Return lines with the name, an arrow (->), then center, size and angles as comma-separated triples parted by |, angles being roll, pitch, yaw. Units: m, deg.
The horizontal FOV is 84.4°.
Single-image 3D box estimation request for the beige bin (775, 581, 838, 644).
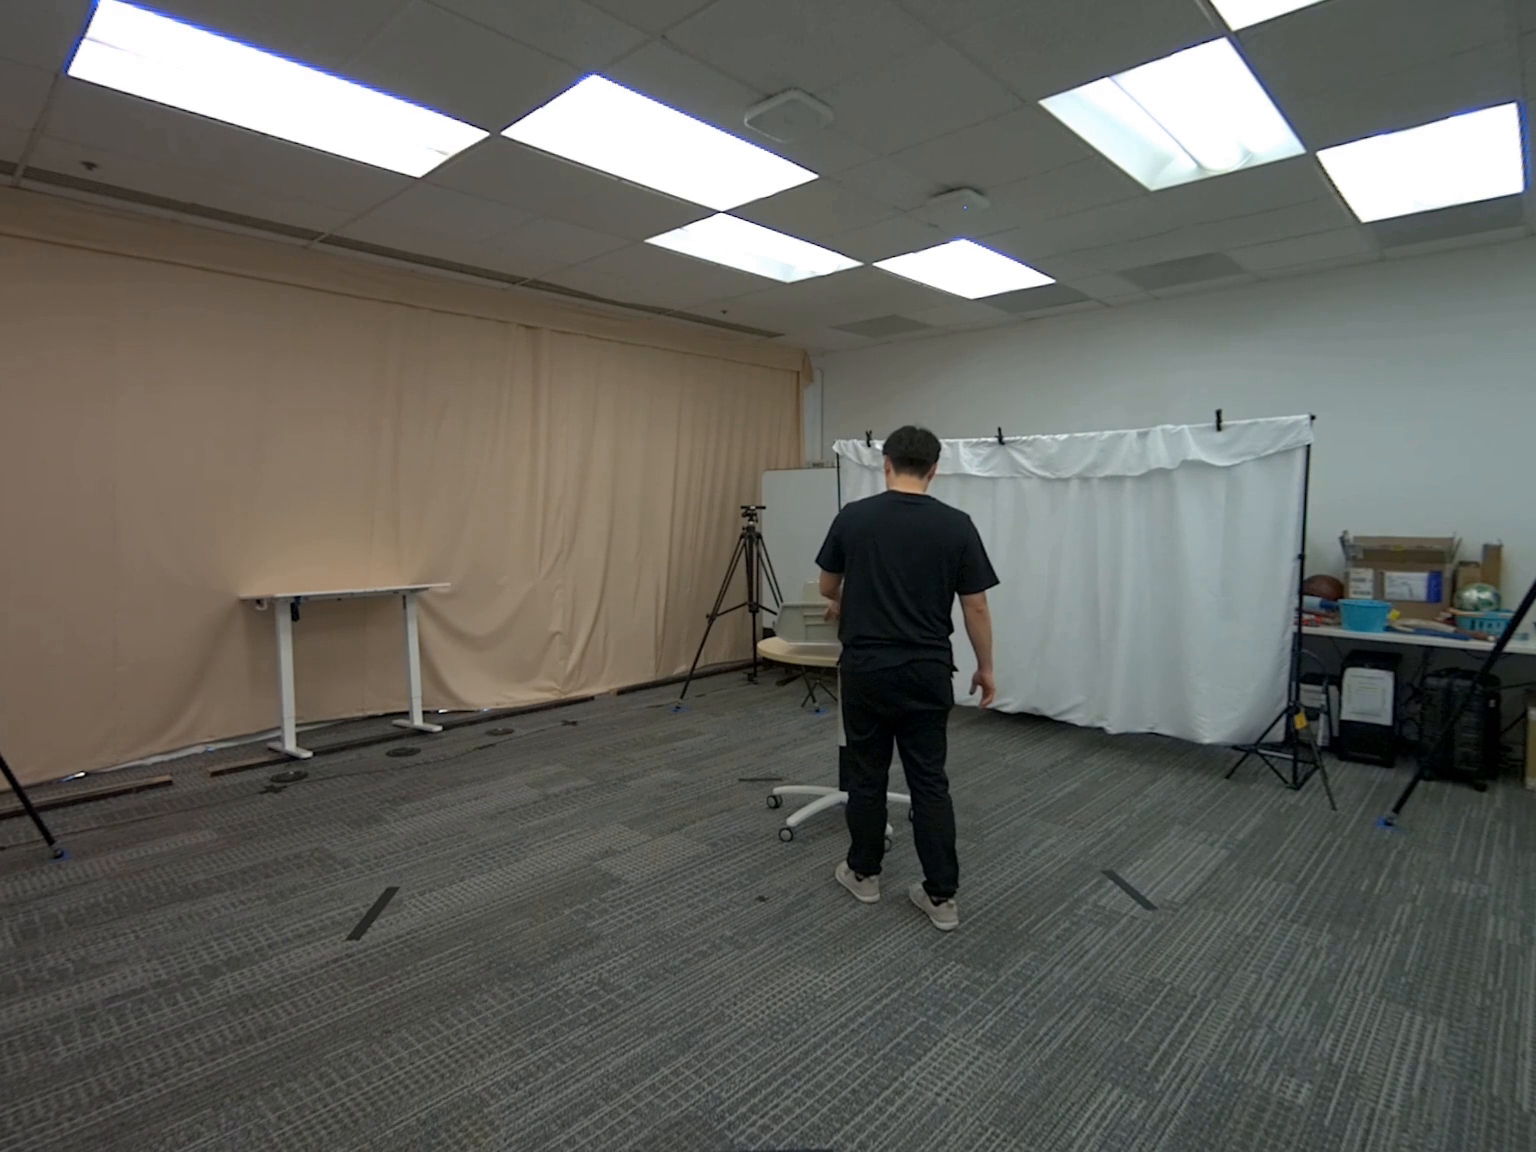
beige bin -> 0.266, 0.152, 3.537 | 0.384, 0.188, 0.417 | -1, 11, 17
